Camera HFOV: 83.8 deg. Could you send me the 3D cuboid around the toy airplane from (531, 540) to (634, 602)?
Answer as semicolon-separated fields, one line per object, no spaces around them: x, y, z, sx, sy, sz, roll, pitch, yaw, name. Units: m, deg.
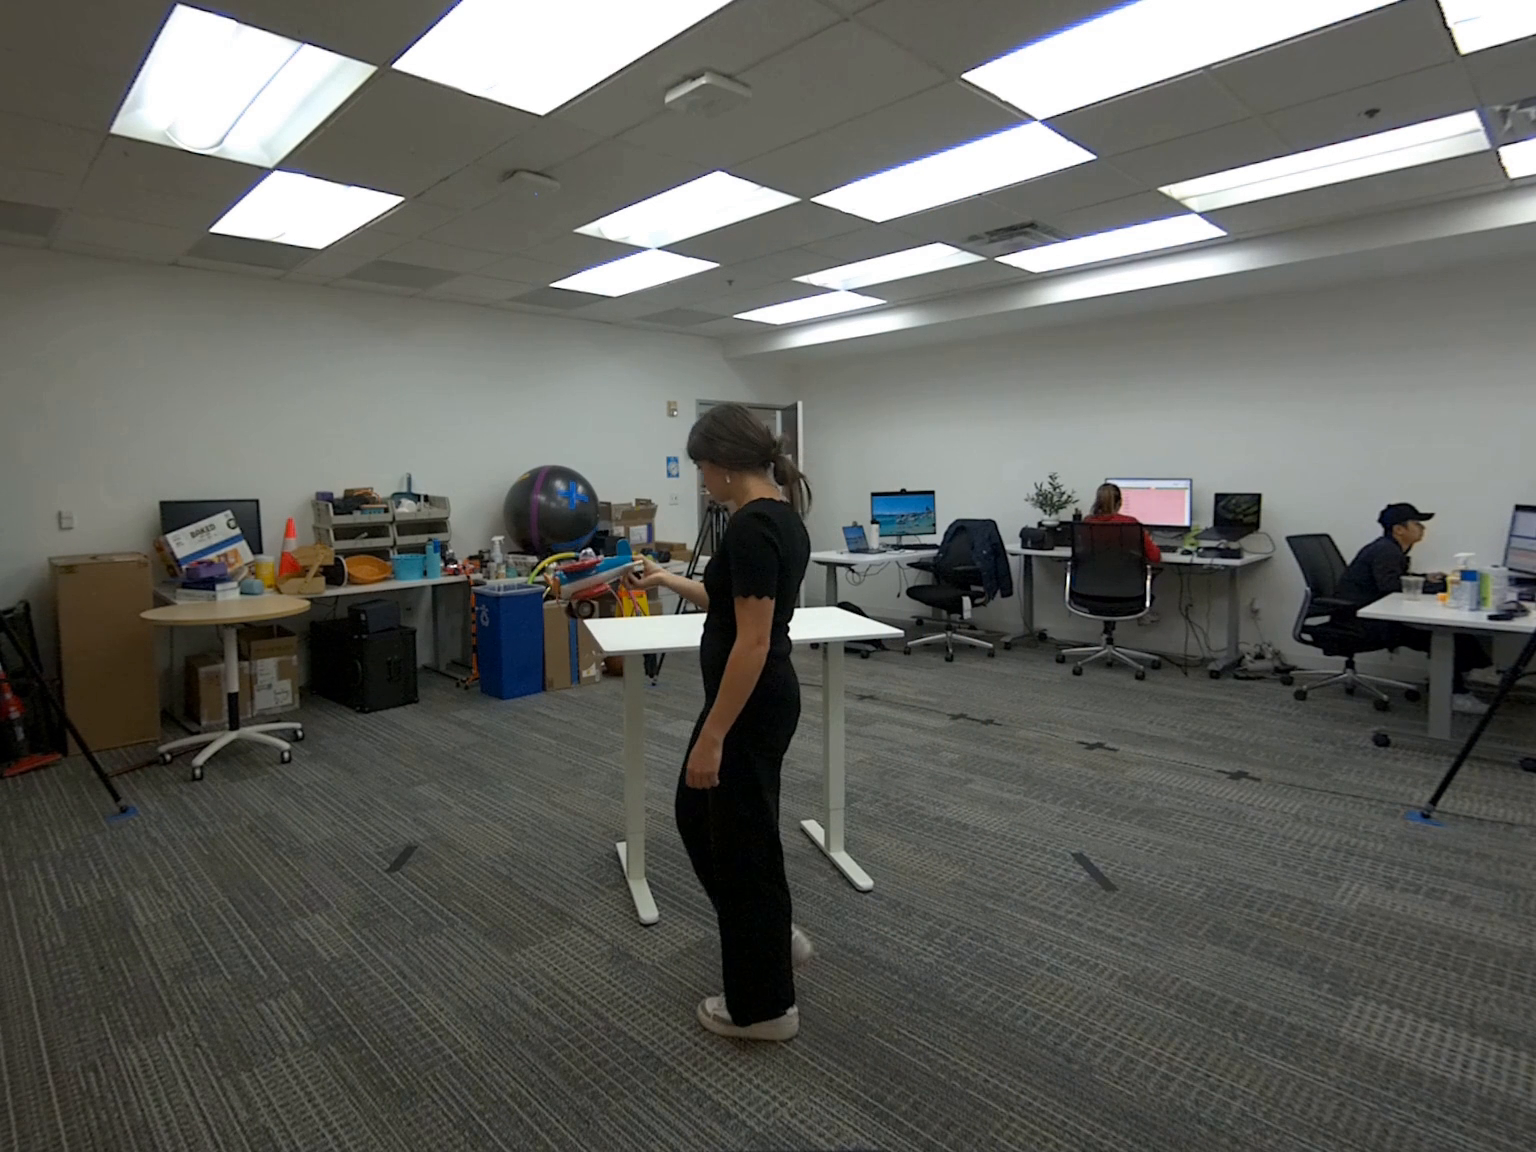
-0.487;-0.002;2.397;0.255;0.154;0.259;-21;15;35;toy airplane
